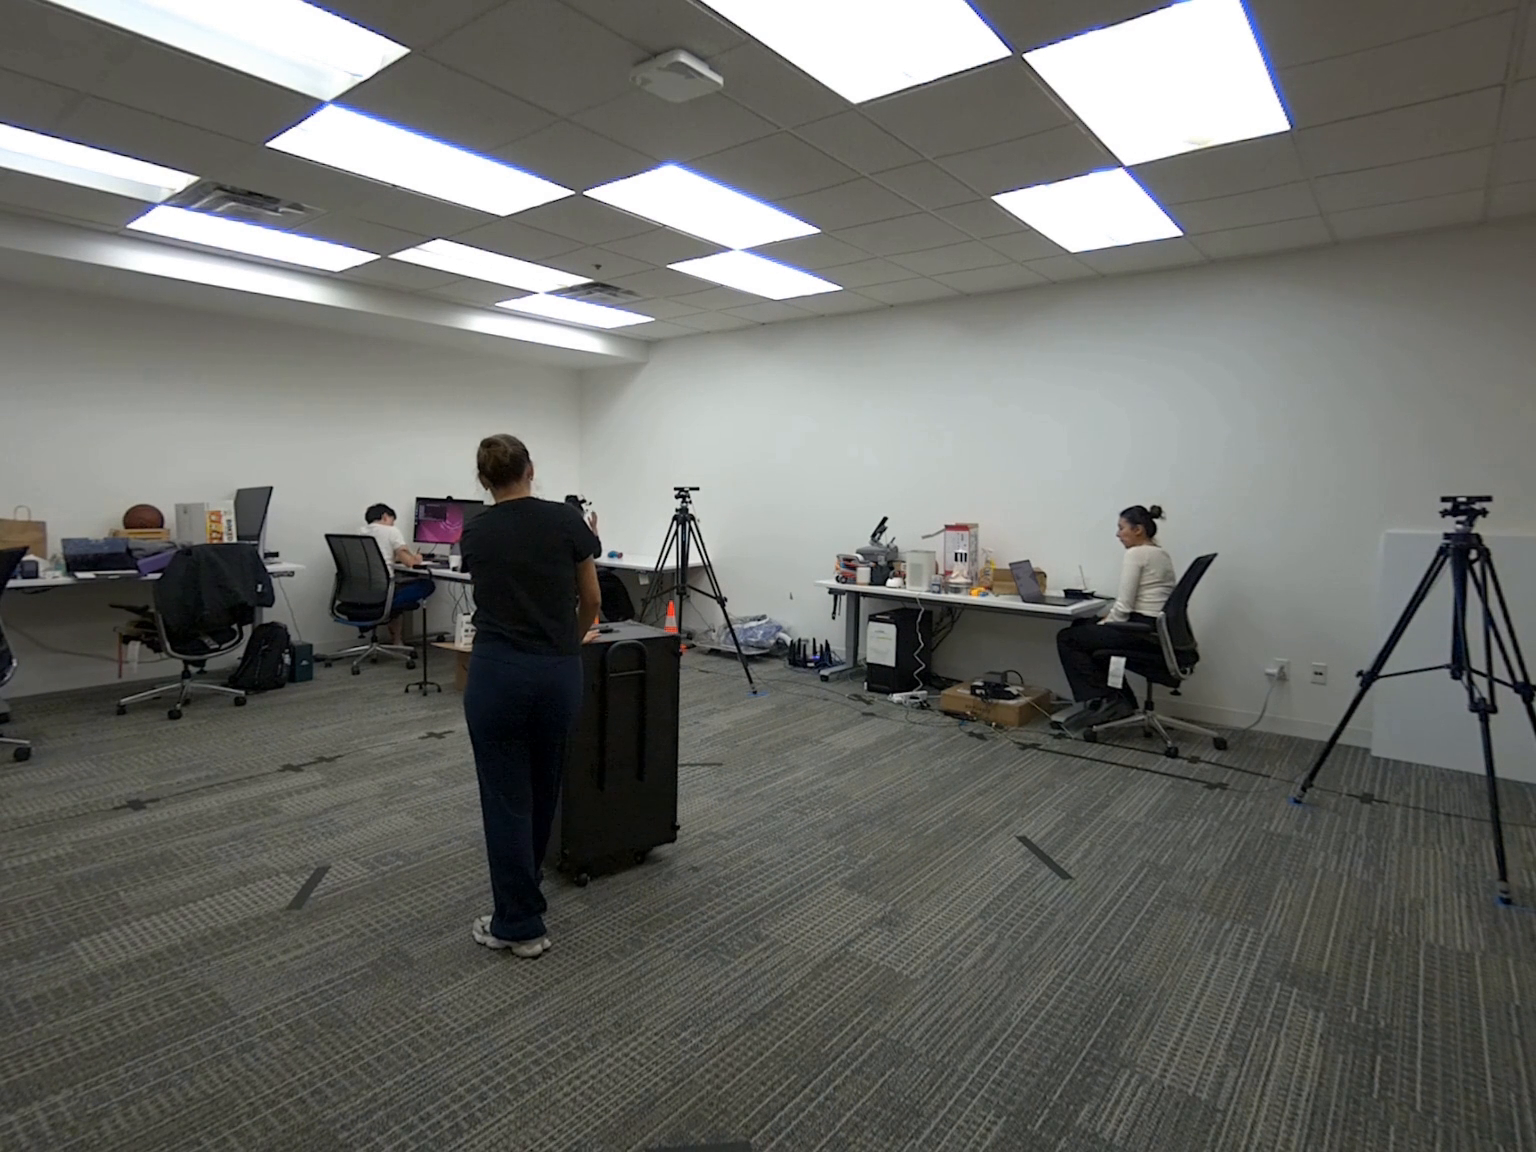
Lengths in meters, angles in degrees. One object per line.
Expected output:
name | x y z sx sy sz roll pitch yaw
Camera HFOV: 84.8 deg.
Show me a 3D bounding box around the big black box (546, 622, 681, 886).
big black box | -0.603 0.629 3.168 0.505 0.859 0.410 -1 5 -39
